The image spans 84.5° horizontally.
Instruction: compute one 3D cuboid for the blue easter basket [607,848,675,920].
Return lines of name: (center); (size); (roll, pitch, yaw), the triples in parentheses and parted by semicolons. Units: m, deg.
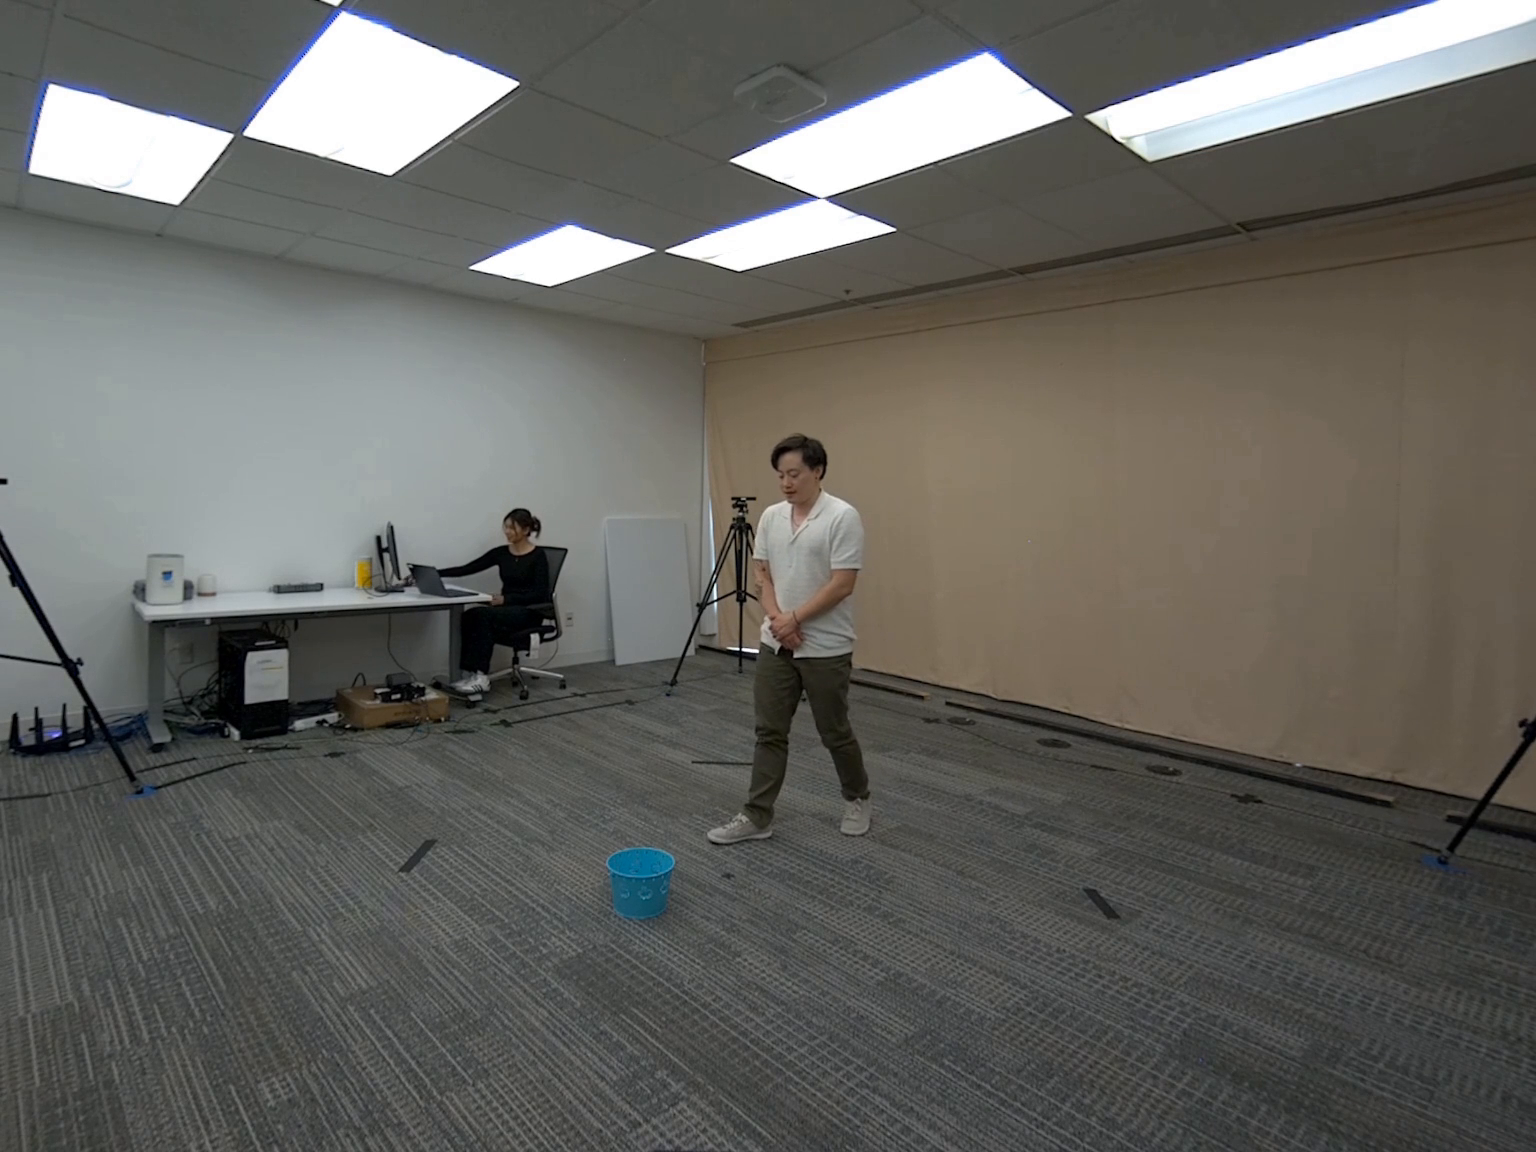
blue easter basket: (-0.441, 1.044, 2.864); (0.243, 0.155, 0.244); (1, 5, -1)
